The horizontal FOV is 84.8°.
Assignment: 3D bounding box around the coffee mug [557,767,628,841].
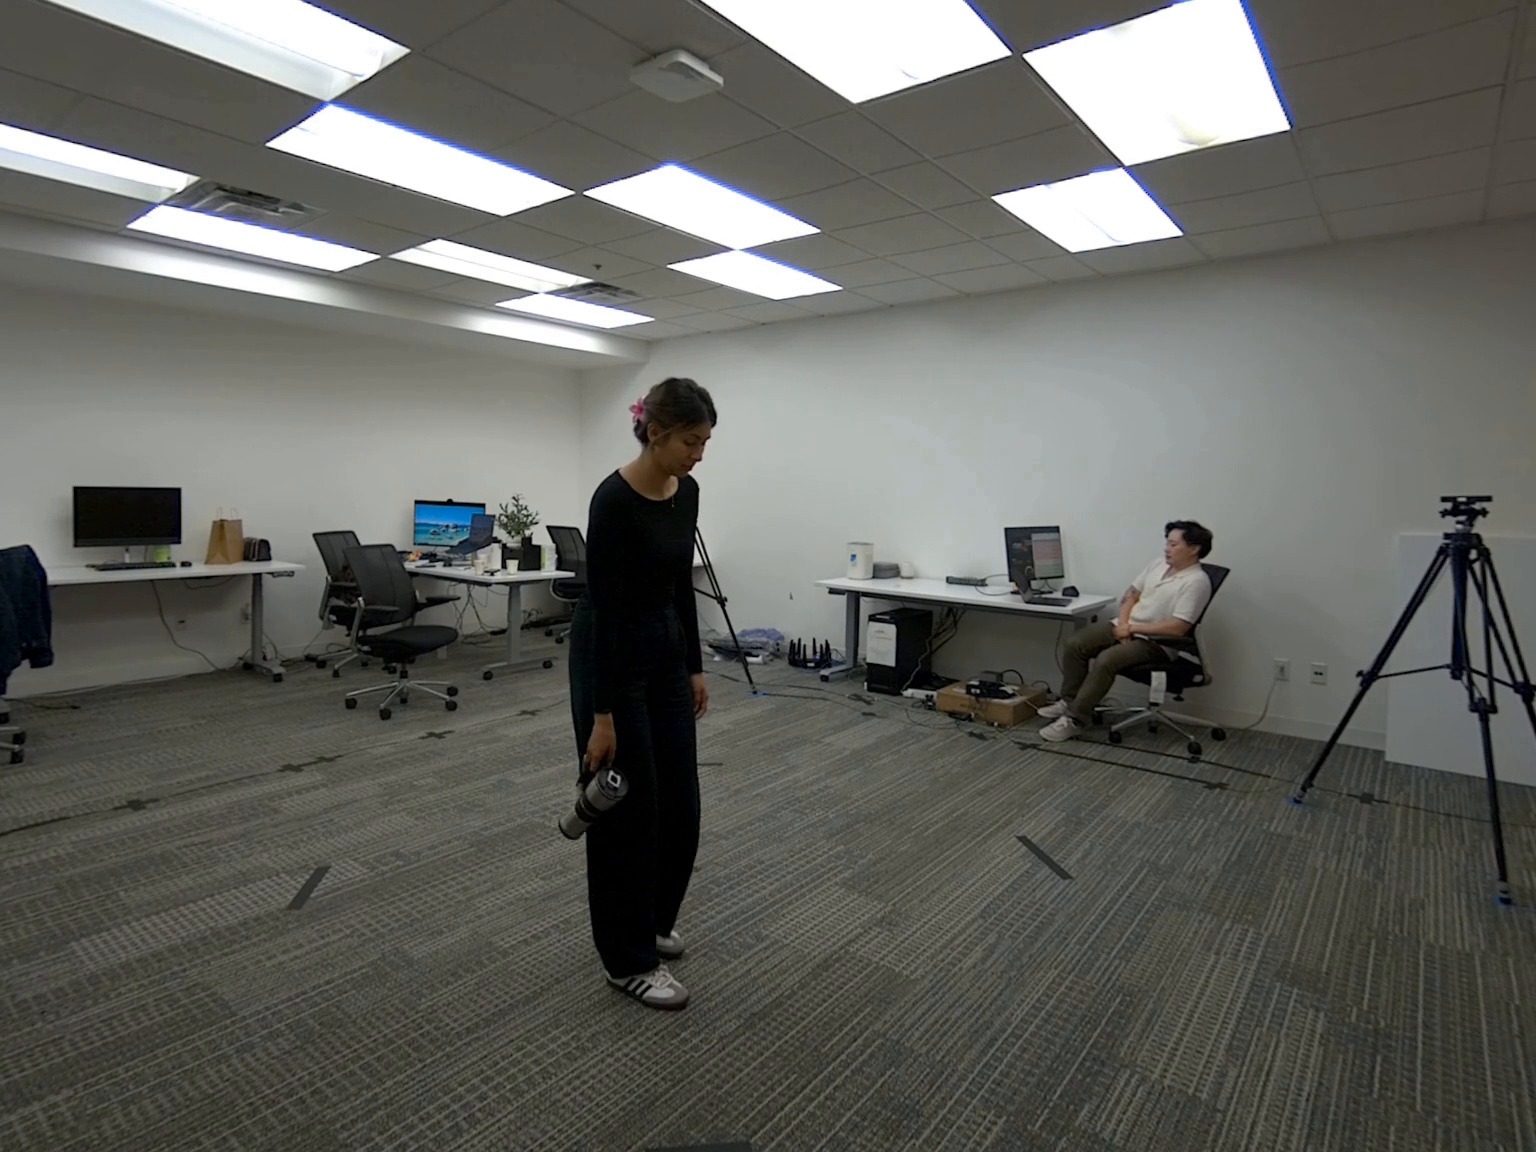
[{"bbox_3d":[-0.462,0.583,2.203,0.085,0.203,0.126,29,27,-27],"label":"coffee mug"}]
